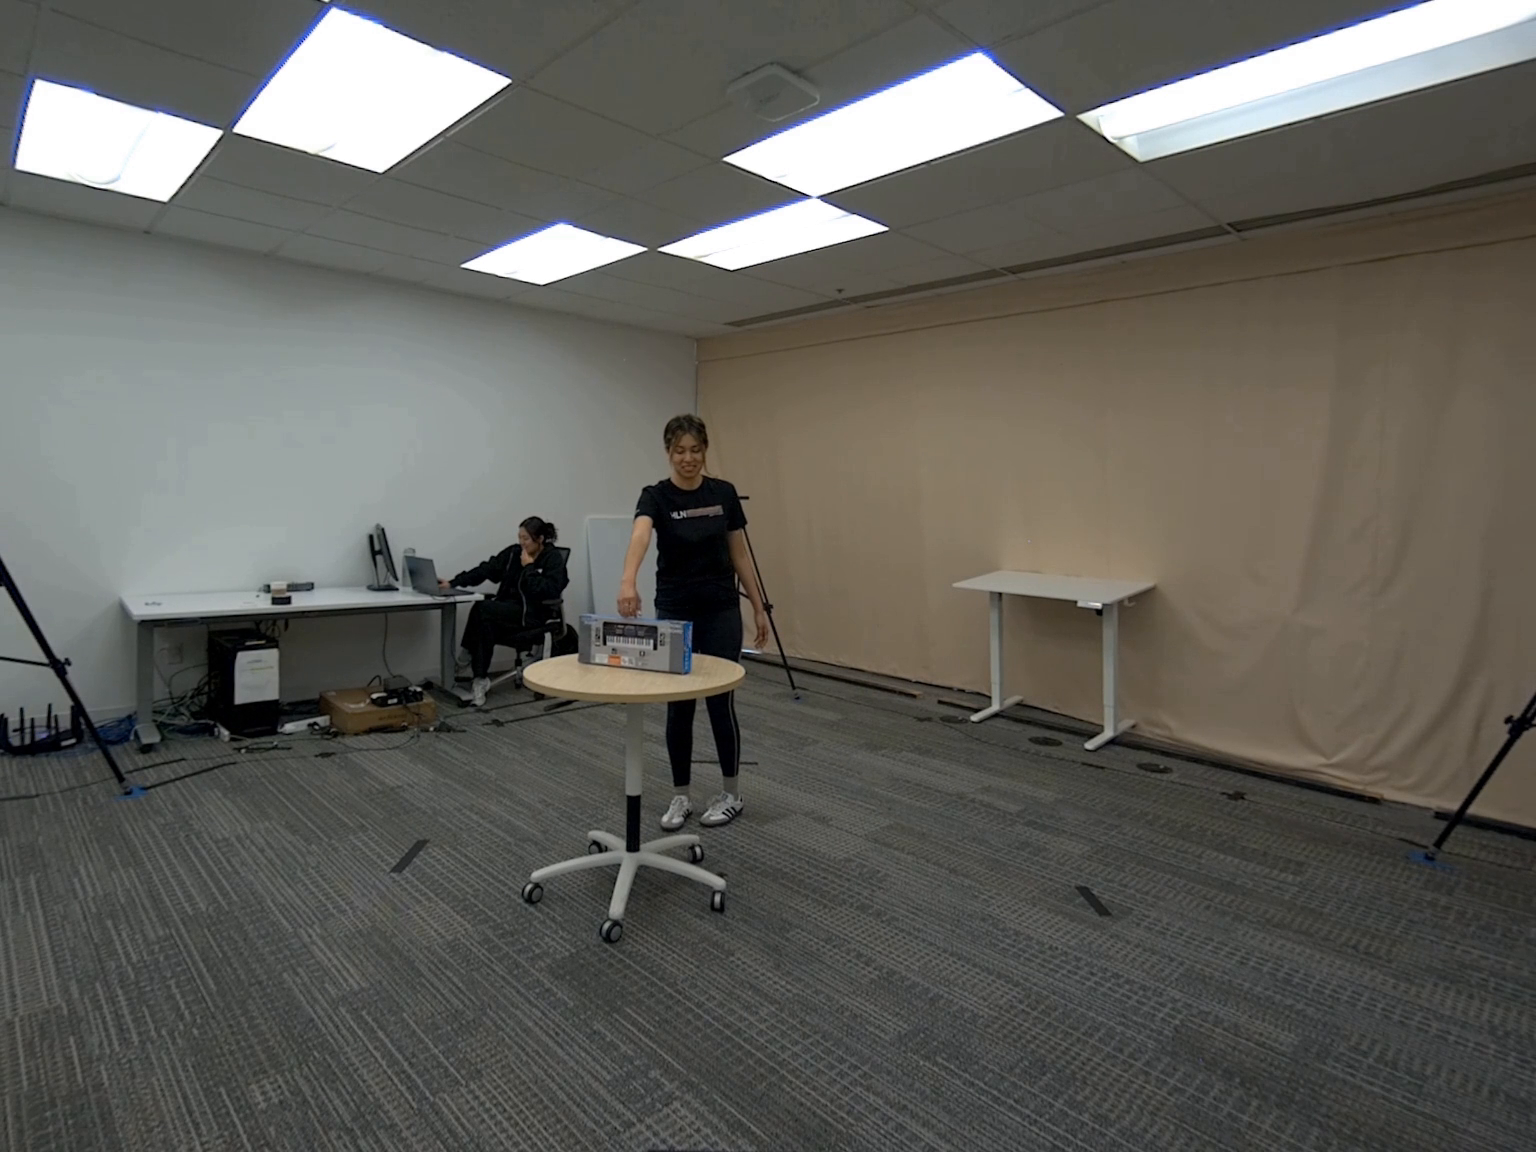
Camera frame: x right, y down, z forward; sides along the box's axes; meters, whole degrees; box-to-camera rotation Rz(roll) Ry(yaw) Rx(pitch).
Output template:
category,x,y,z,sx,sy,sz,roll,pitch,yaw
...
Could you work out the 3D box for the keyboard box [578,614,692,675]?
category,x,y,z,sx,sy,sz,roll,pitch,yaw
keyboard box,-0.478,0.236,2.970,0.445,0.176,0.058,3,2,24
